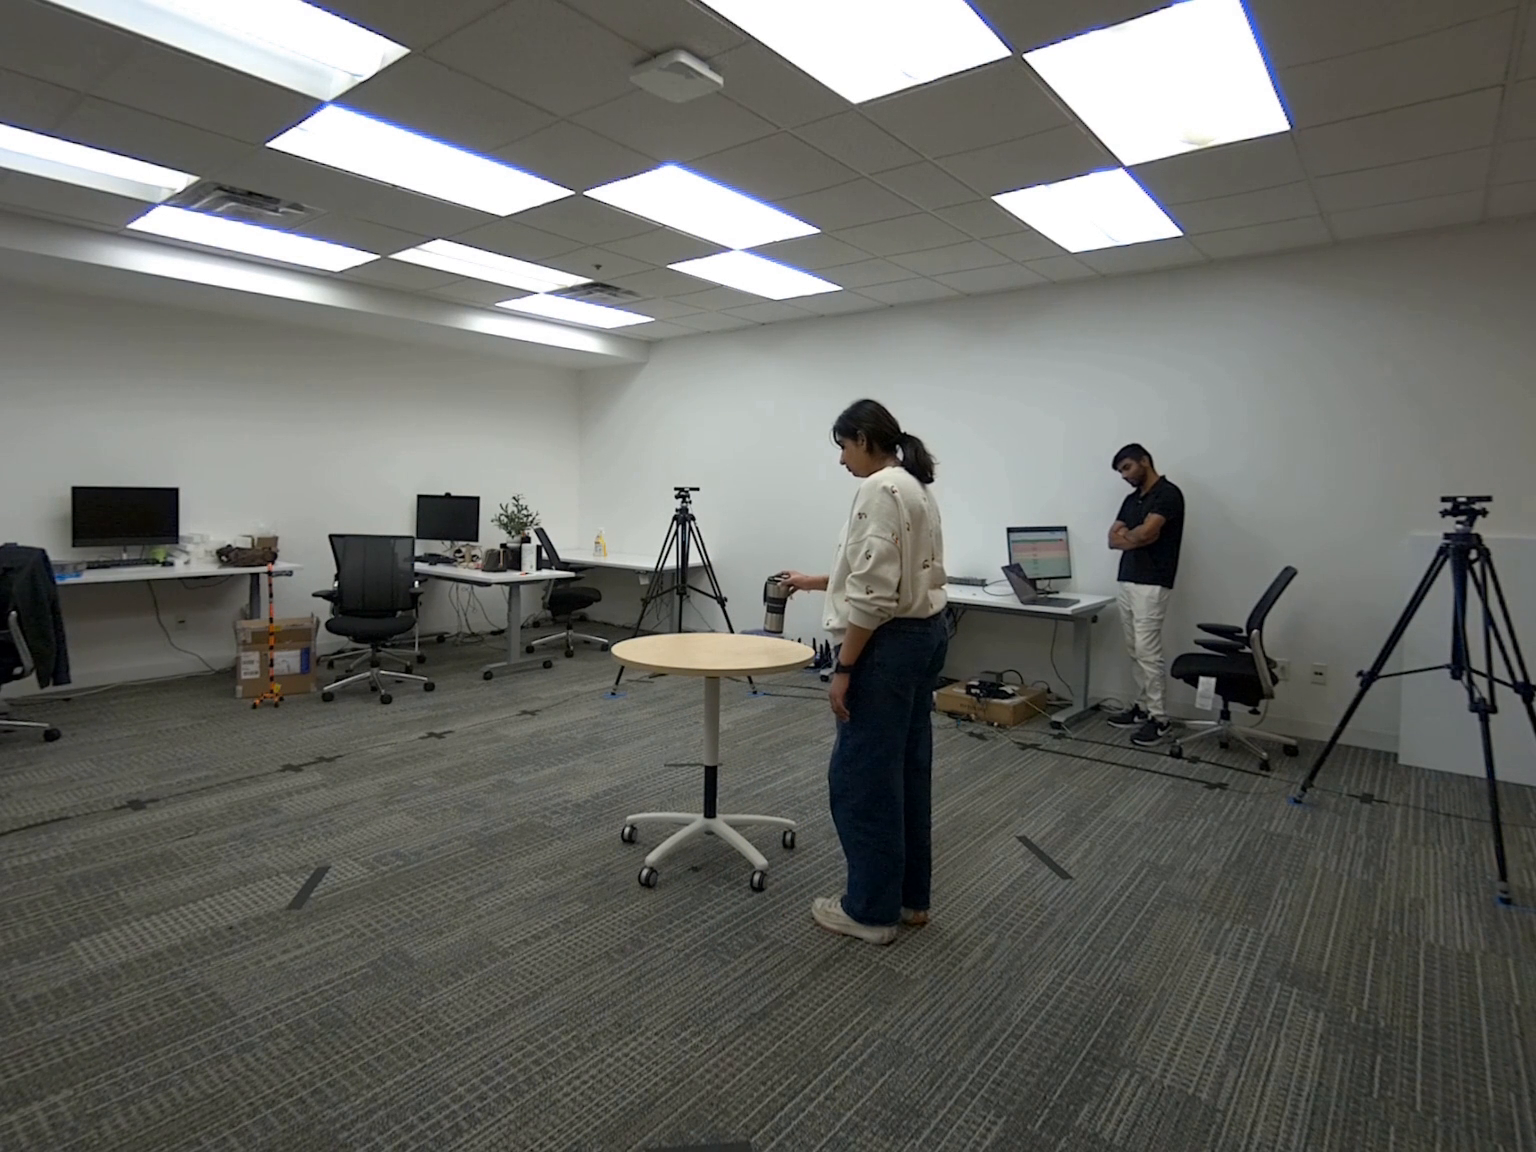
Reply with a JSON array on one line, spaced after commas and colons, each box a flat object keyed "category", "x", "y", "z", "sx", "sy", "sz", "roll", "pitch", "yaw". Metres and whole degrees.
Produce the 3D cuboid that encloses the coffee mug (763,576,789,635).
[{"category": "coffee mug", "x": 0.038, "y": 0.104, "z": 3.140, "sx": 0.091, "sy": 0.202, "sz": 0.118, "roll": 1, "pitch": 3, "yaw": 38}]
